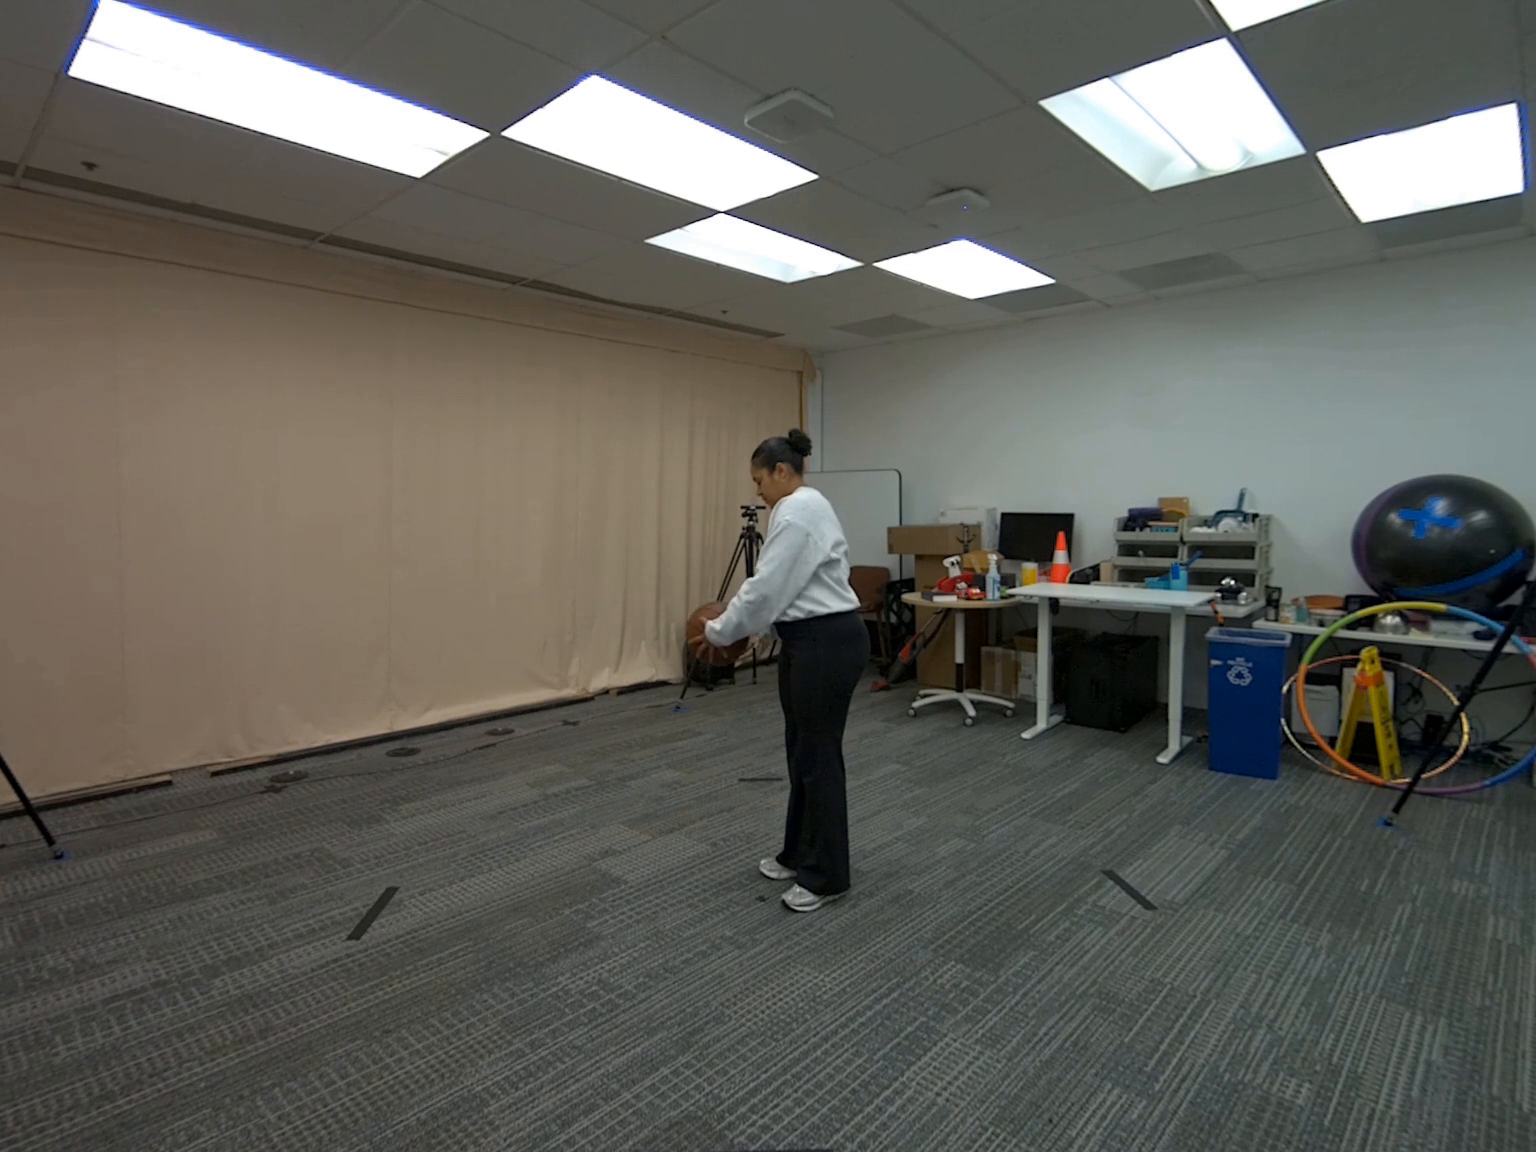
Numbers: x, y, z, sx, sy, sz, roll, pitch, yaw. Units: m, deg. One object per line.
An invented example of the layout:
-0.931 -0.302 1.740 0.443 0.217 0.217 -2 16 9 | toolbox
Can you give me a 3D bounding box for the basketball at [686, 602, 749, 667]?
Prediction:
-0.164 0.202 3.134 0.236 0.235 0.237 0 4 -2 | basketball
